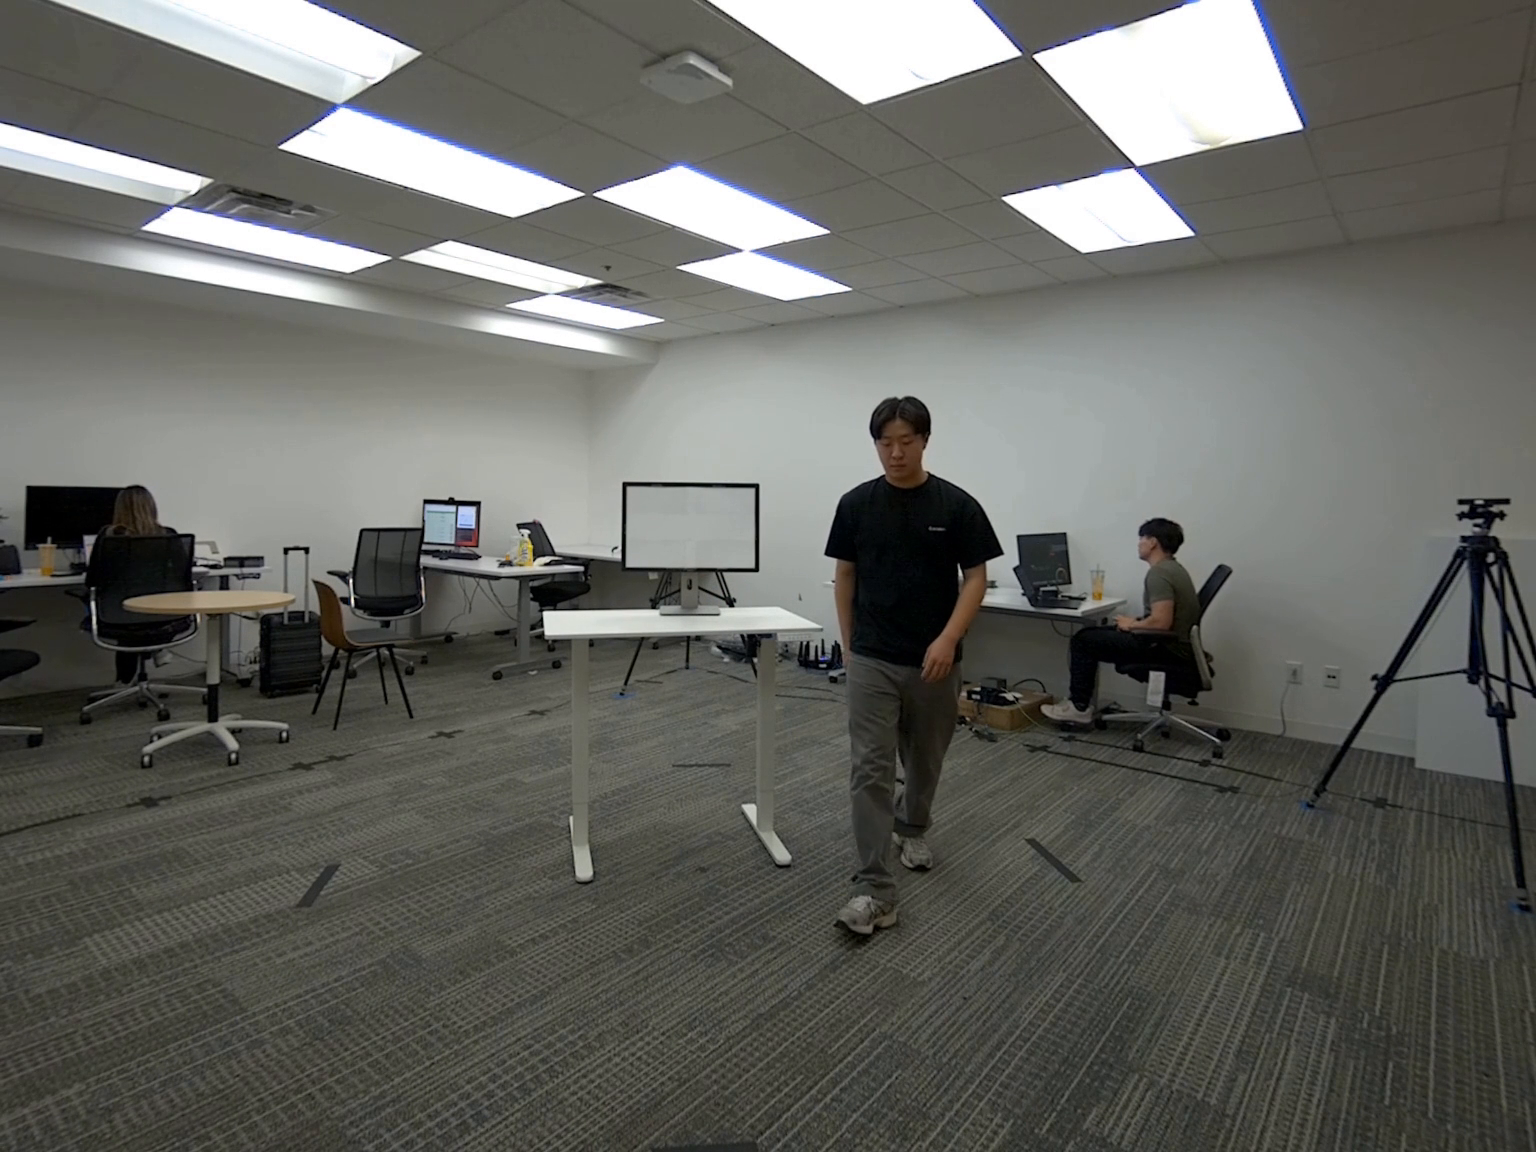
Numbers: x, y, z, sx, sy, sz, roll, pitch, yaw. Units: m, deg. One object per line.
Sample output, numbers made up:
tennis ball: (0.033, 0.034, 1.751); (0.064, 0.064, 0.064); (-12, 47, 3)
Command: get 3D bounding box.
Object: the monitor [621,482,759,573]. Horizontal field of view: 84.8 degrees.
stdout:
monitor: (-0.326, -0.108, 3.497); (0.561, 0.560, 0.225); (0, 10, -2)
